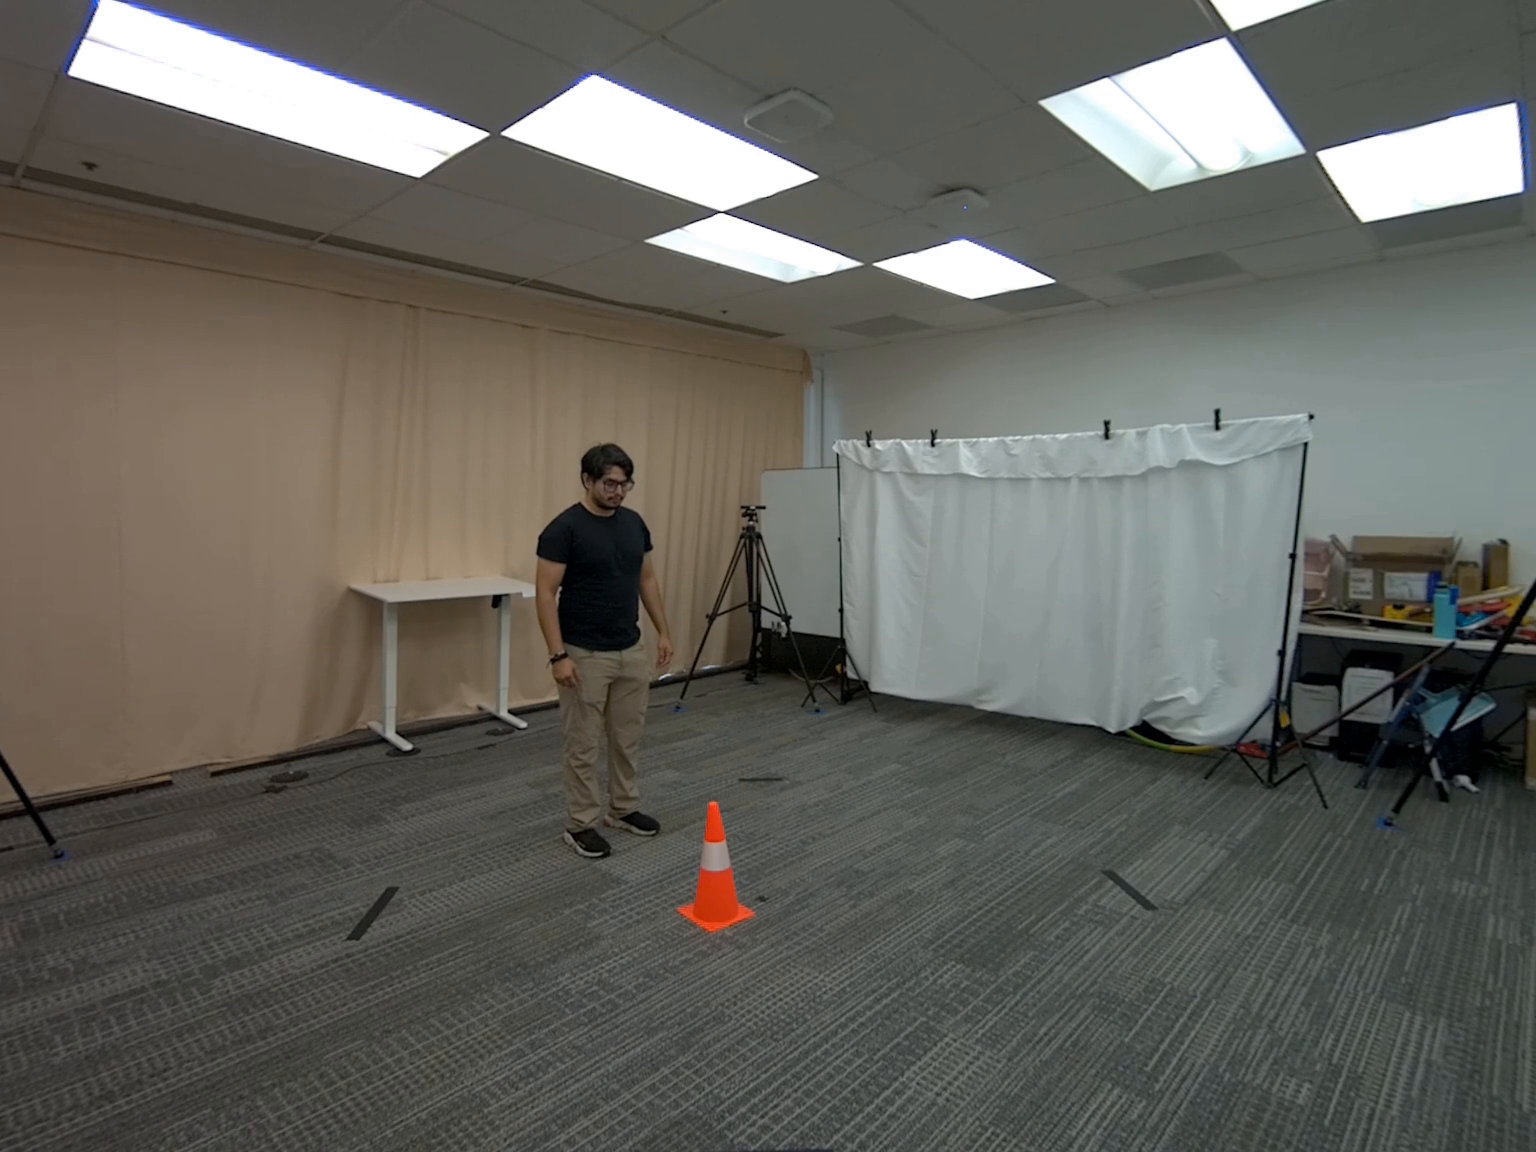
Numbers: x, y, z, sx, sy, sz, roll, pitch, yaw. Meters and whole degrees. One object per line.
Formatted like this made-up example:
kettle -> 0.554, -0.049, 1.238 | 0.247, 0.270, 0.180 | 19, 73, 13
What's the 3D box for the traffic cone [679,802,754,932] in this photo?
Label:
traffic cone -> -0.178, 0.969, 2.874 | 0.197, 0.383, 0.211 | -2, 3, -38
